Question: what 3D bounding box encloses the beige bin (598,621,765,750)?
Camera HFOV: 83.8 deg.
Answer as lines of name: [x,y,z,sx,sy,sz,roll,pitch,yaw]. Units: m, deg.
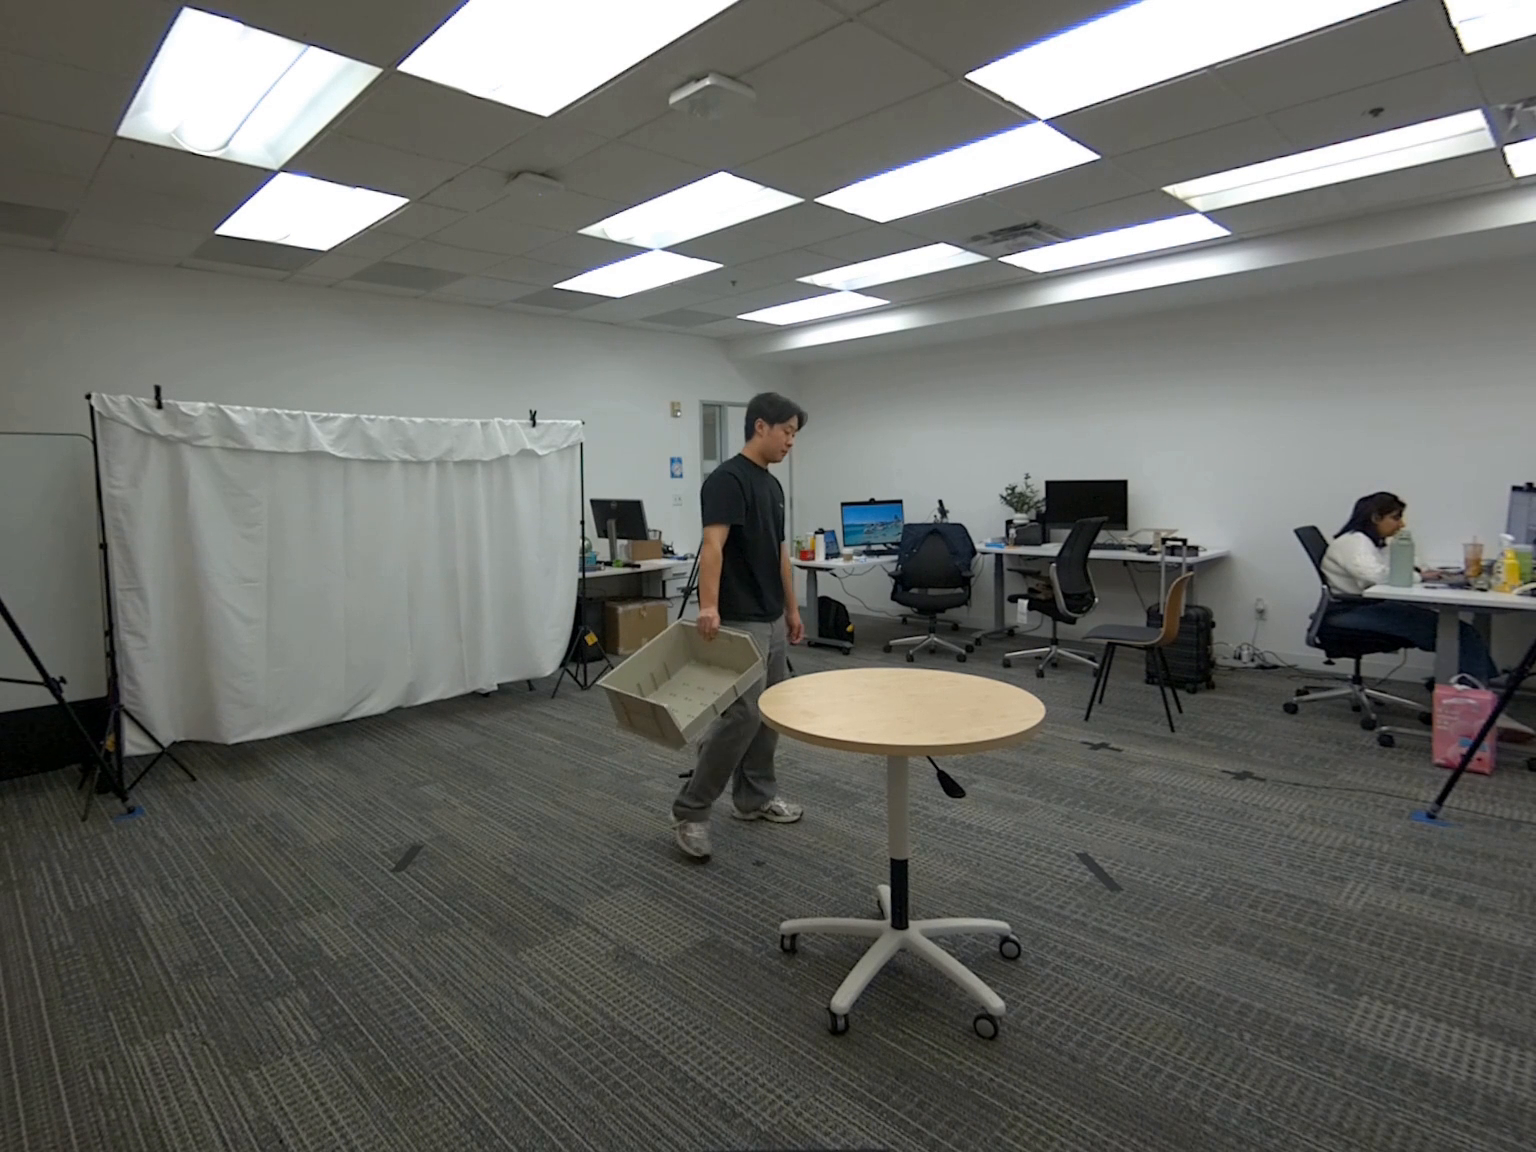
beige bin: [-0.281,0.357,2.848,0.389,0.184,0.419,7,34,43]
